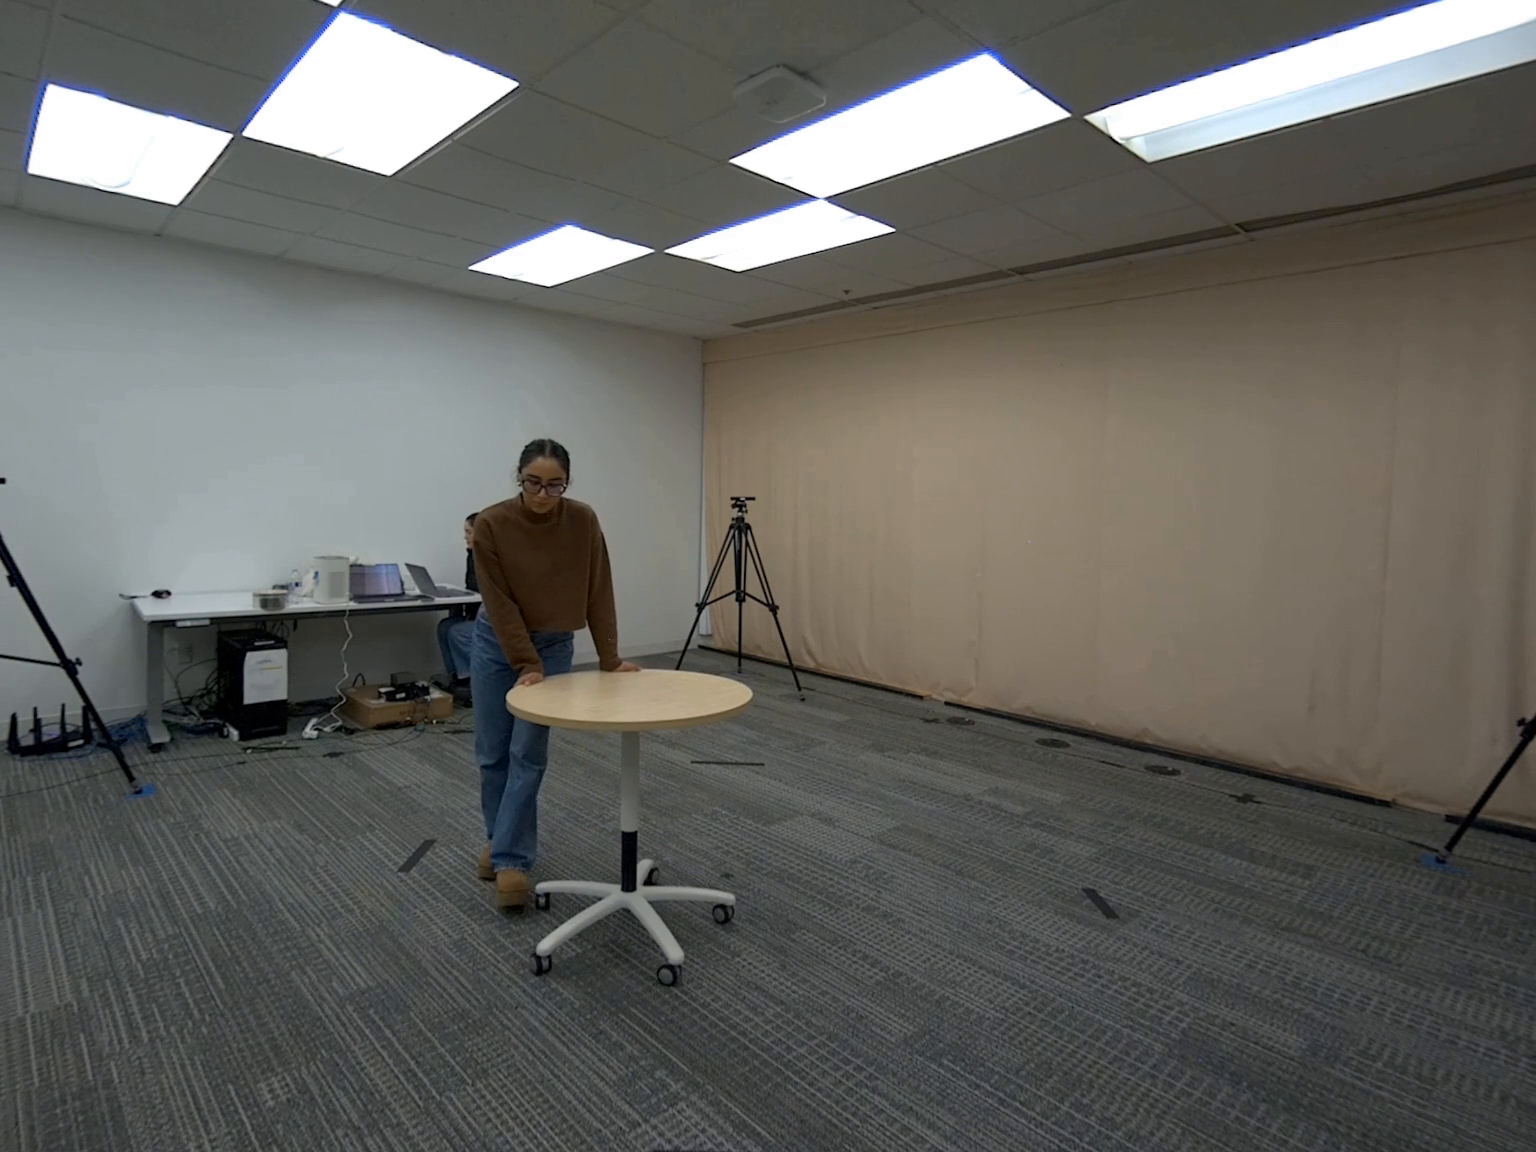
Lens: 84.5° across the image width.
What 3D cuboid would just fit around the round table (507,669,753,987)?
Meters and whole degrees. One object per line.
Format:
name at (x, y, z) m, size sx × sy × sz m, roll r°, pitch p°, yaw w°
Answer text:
round table at (-0.448, 0.758, 2.663) m, size 0.763 × 0.792 × 0.766 m, roll 1°, pitch 4°, yaw -1°
